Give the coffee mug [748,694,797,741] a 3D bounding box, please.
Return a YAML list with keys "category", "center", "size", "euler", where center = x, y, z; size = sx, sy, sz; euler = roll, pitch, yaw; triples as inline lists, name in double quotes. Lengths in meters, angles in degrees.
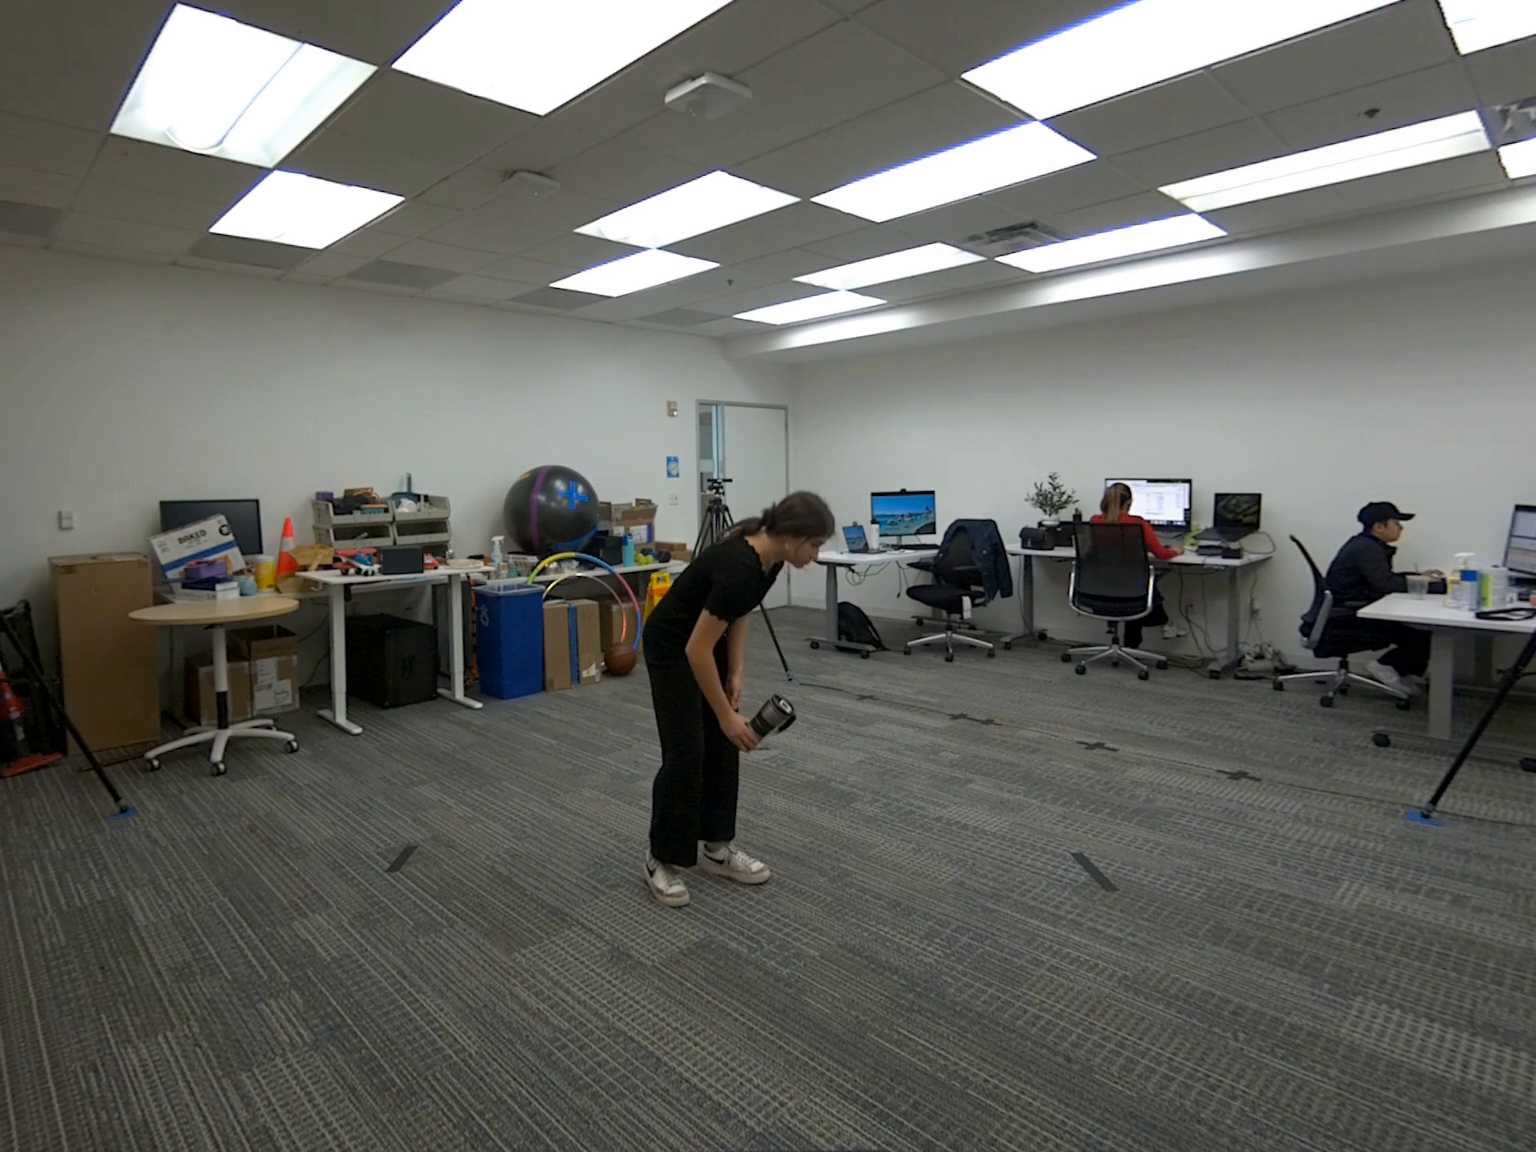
- category: "coffee mug"
  center: [-0.014, 0.506, 2.776]
  size: [0.122, 0.203, 0.088]
  euler: [41, 22, -2]
